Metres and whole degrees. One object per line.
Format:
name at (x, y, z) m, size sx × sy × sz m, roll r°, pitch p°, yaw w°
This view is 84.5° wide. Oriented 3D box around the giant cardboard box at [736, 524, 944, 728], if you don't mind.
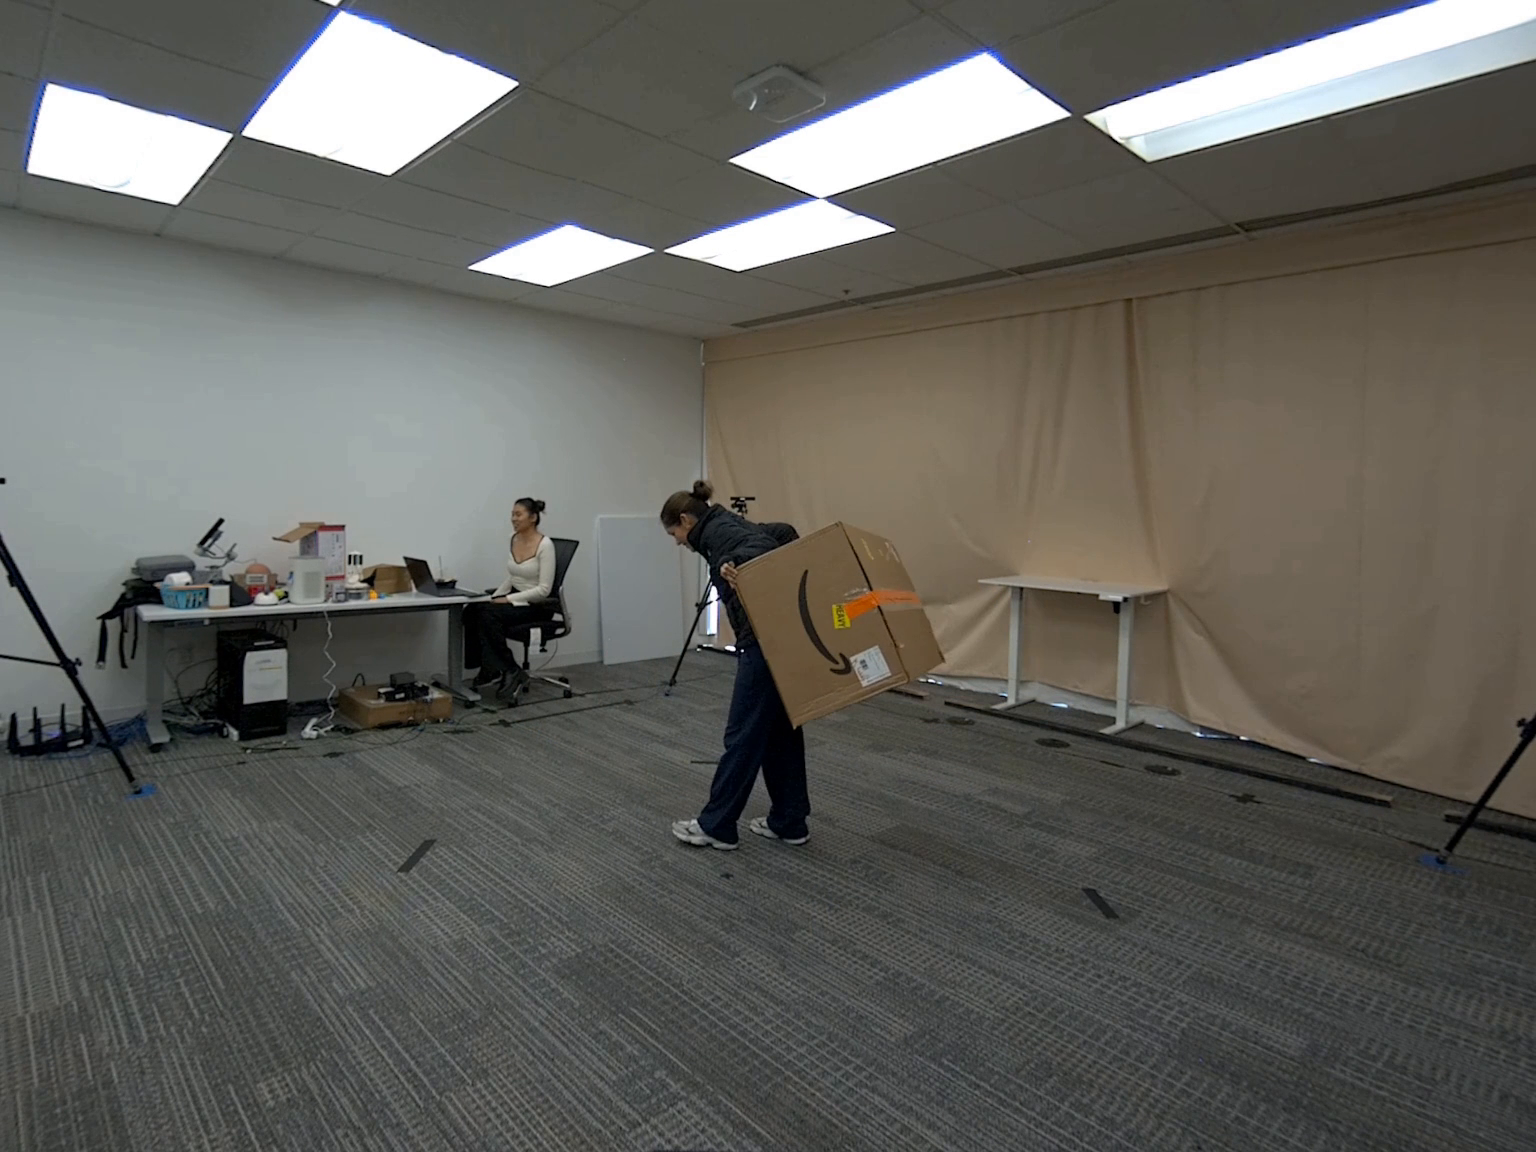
giant cardboard box at (0.311, 0.176, 3.243) m, size 0.429 × 0.583 × 1.009 m, roll -26°, pitch -9°, yaw 17°
